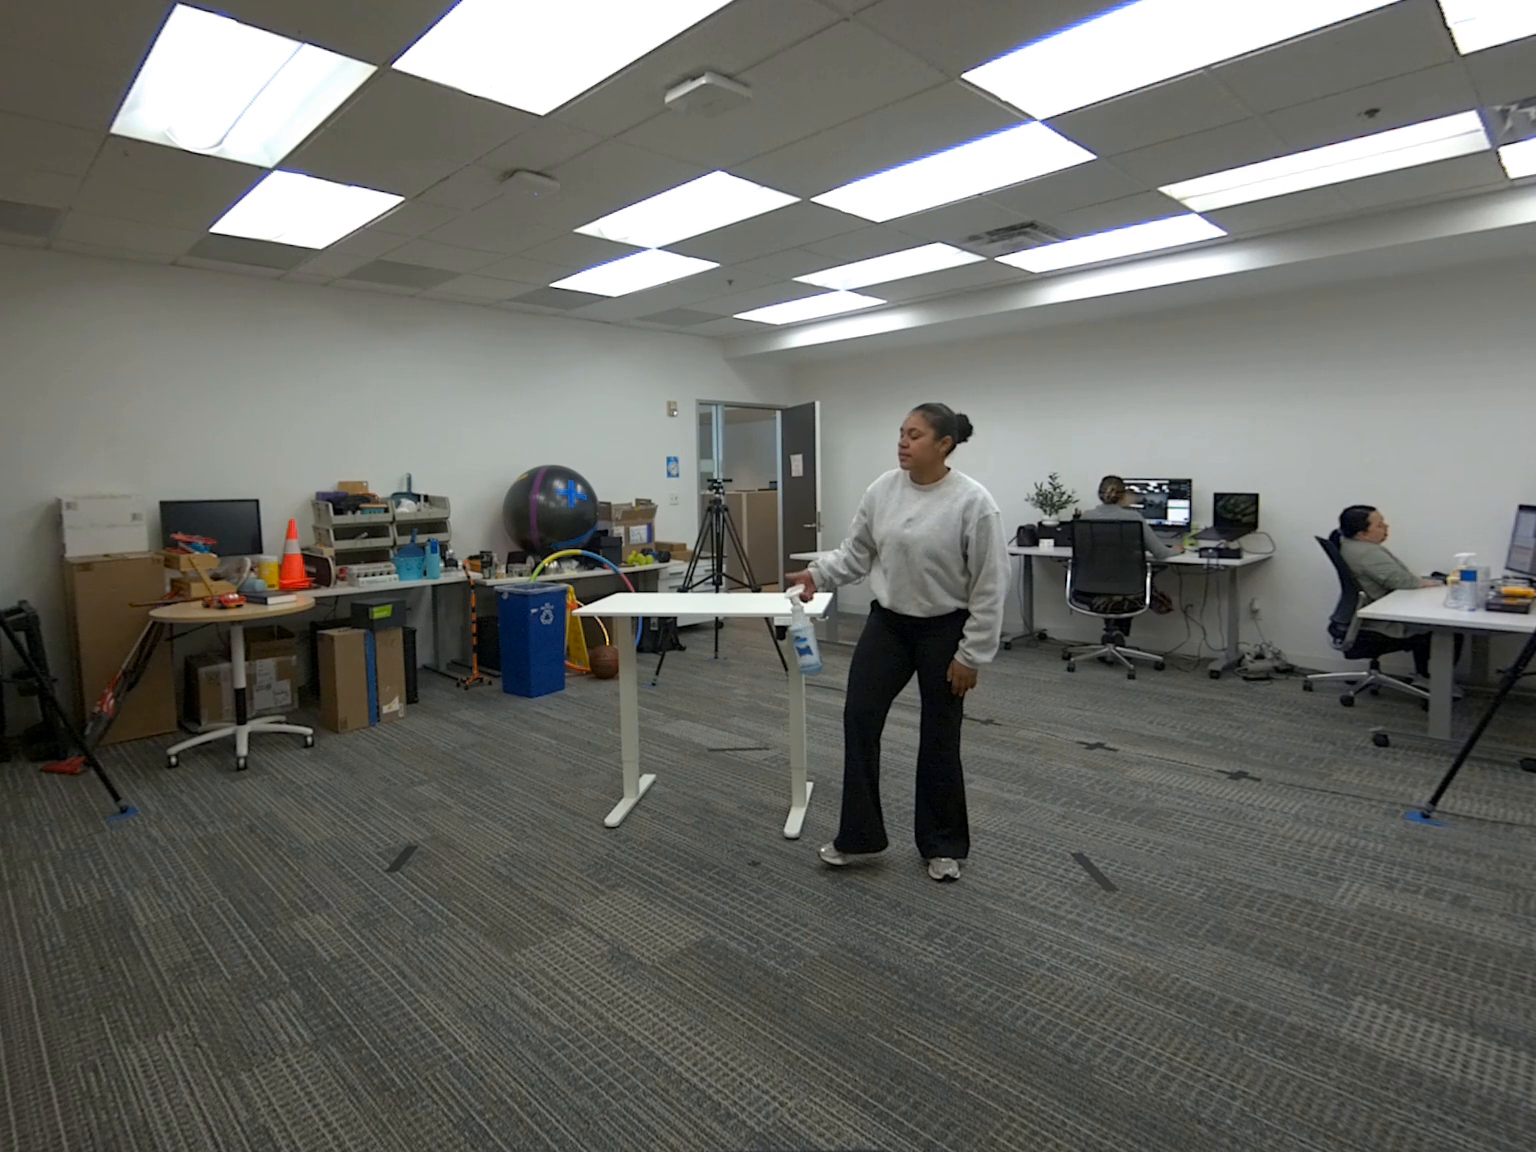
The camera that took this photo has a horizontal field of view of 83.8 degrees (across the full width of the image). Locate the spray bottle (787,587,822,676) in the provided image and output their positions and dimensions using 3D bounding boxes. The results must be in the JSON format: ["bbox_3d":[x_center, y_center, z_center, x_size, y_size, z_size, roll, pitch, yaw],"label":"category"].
[{"bbox_3d":[0.123,0.184,2.962,0.089,0.298,0.087,-13,-1,-12],"label":"spray bottle"}]
